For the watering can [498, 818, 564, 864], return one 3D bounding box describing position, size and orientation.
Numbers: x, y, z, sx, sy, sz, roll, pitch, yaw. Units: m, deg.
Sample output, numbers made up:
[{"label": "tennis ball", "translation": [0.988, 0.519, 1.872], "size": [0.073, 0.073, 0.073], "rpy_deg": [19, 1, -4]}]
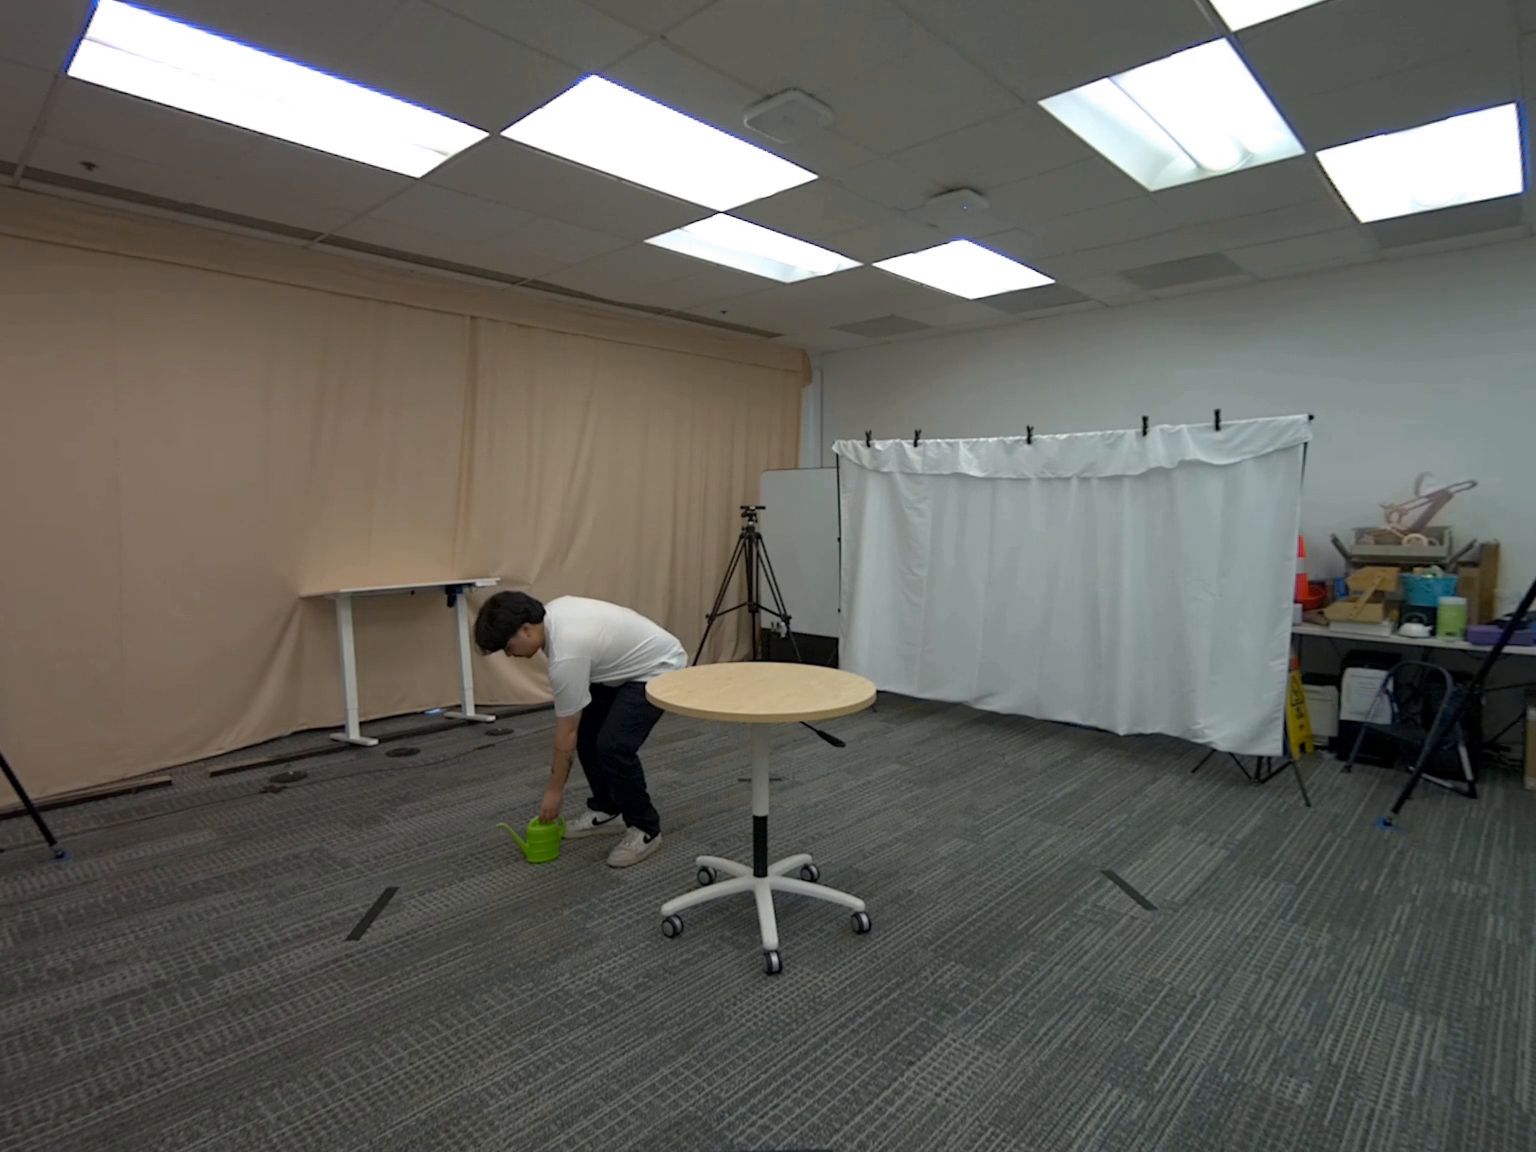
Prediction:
[{"label": "watering can", "translation": [-0.944, 1.041, 3.327], "size": [0.273, 0.176, 0.100], "rpy_deg": [3, 3, -16]}]
